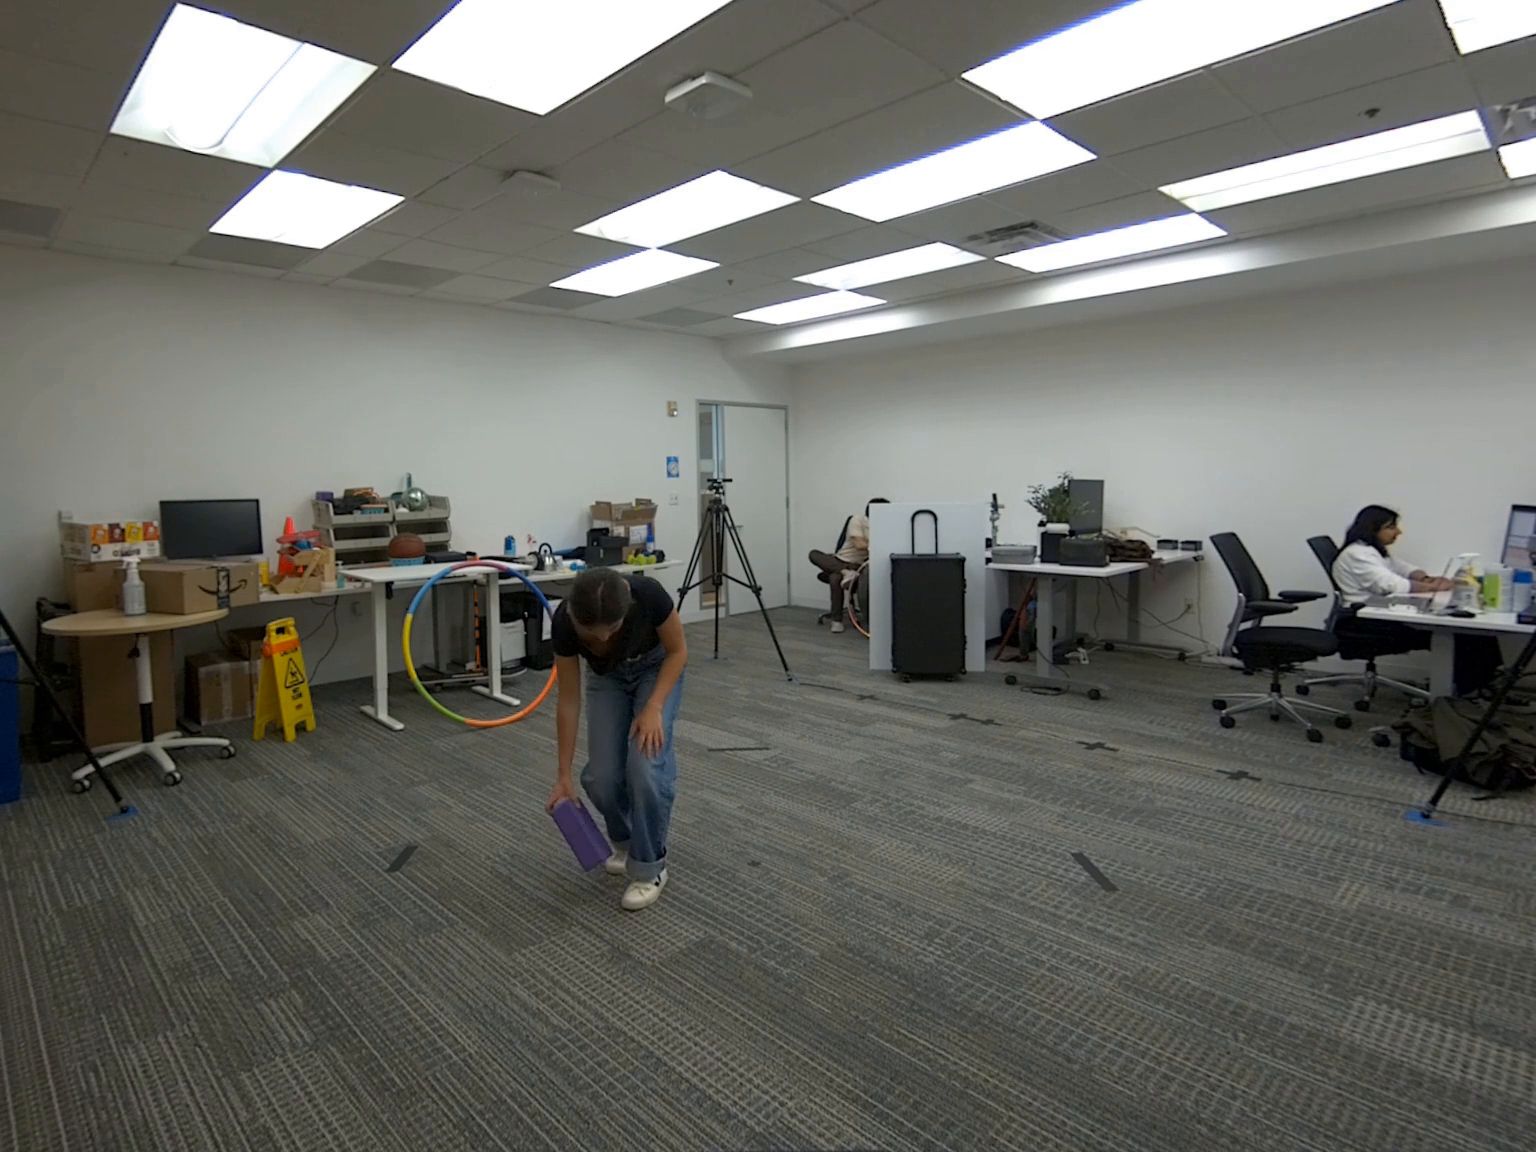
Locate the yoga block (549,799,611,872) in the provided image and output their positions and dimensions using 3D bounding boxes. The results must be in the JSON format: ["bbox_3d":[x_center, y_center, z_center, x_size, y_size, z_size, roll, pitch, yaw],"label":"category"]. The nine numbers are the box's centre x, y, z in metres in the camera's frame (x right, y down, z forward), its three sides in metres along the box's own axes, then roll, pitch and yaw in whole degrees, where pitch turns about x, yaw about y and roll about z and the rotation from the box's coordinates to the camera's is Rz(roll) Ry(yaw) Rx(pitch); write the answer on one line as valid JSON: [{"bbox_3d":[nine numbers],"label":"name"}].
[{"bbox_3d":[-0.615,0.852,2.845,0.076,0.233,0.147,-35,-11,-2],"label":"yoga block"}]
